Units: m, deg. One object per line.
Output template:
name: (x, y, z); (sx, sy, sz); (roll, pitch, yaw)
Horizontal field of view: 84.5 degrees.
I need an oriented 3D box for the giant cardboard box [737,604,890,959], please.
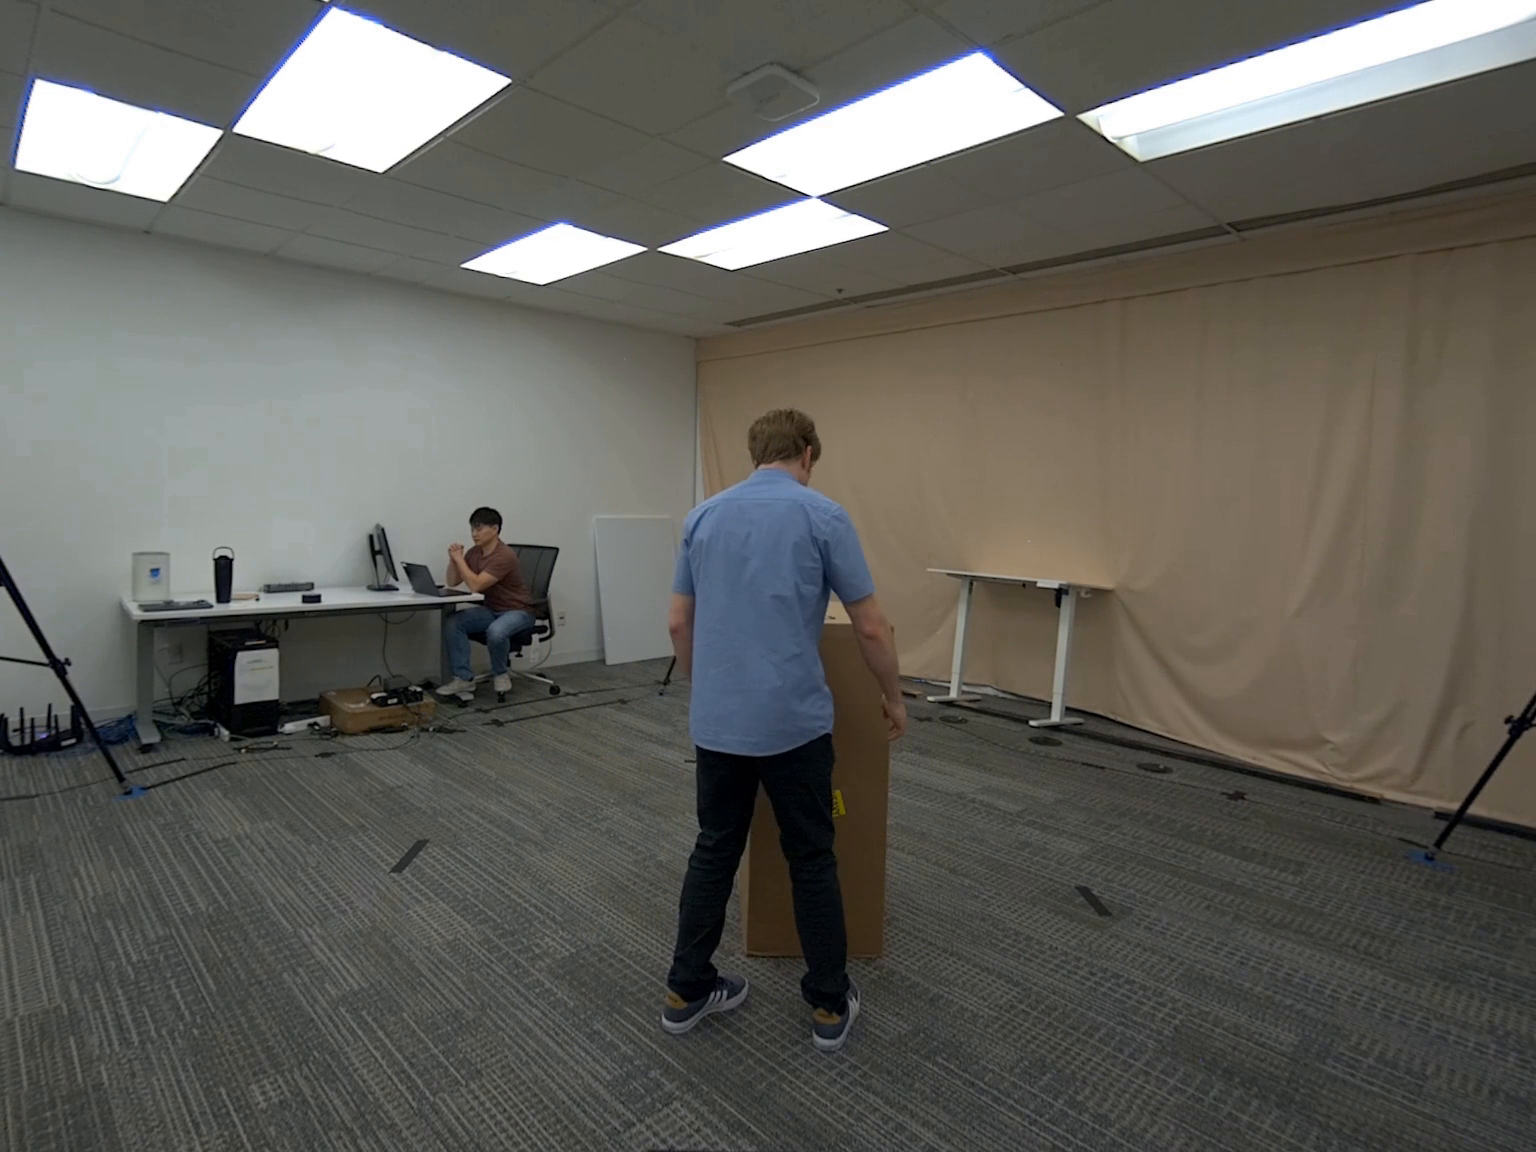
giant cardboard box: (0.141, 0.633, 2.815); (0.425, 1.023, 0.580); (1, 3, -3)
